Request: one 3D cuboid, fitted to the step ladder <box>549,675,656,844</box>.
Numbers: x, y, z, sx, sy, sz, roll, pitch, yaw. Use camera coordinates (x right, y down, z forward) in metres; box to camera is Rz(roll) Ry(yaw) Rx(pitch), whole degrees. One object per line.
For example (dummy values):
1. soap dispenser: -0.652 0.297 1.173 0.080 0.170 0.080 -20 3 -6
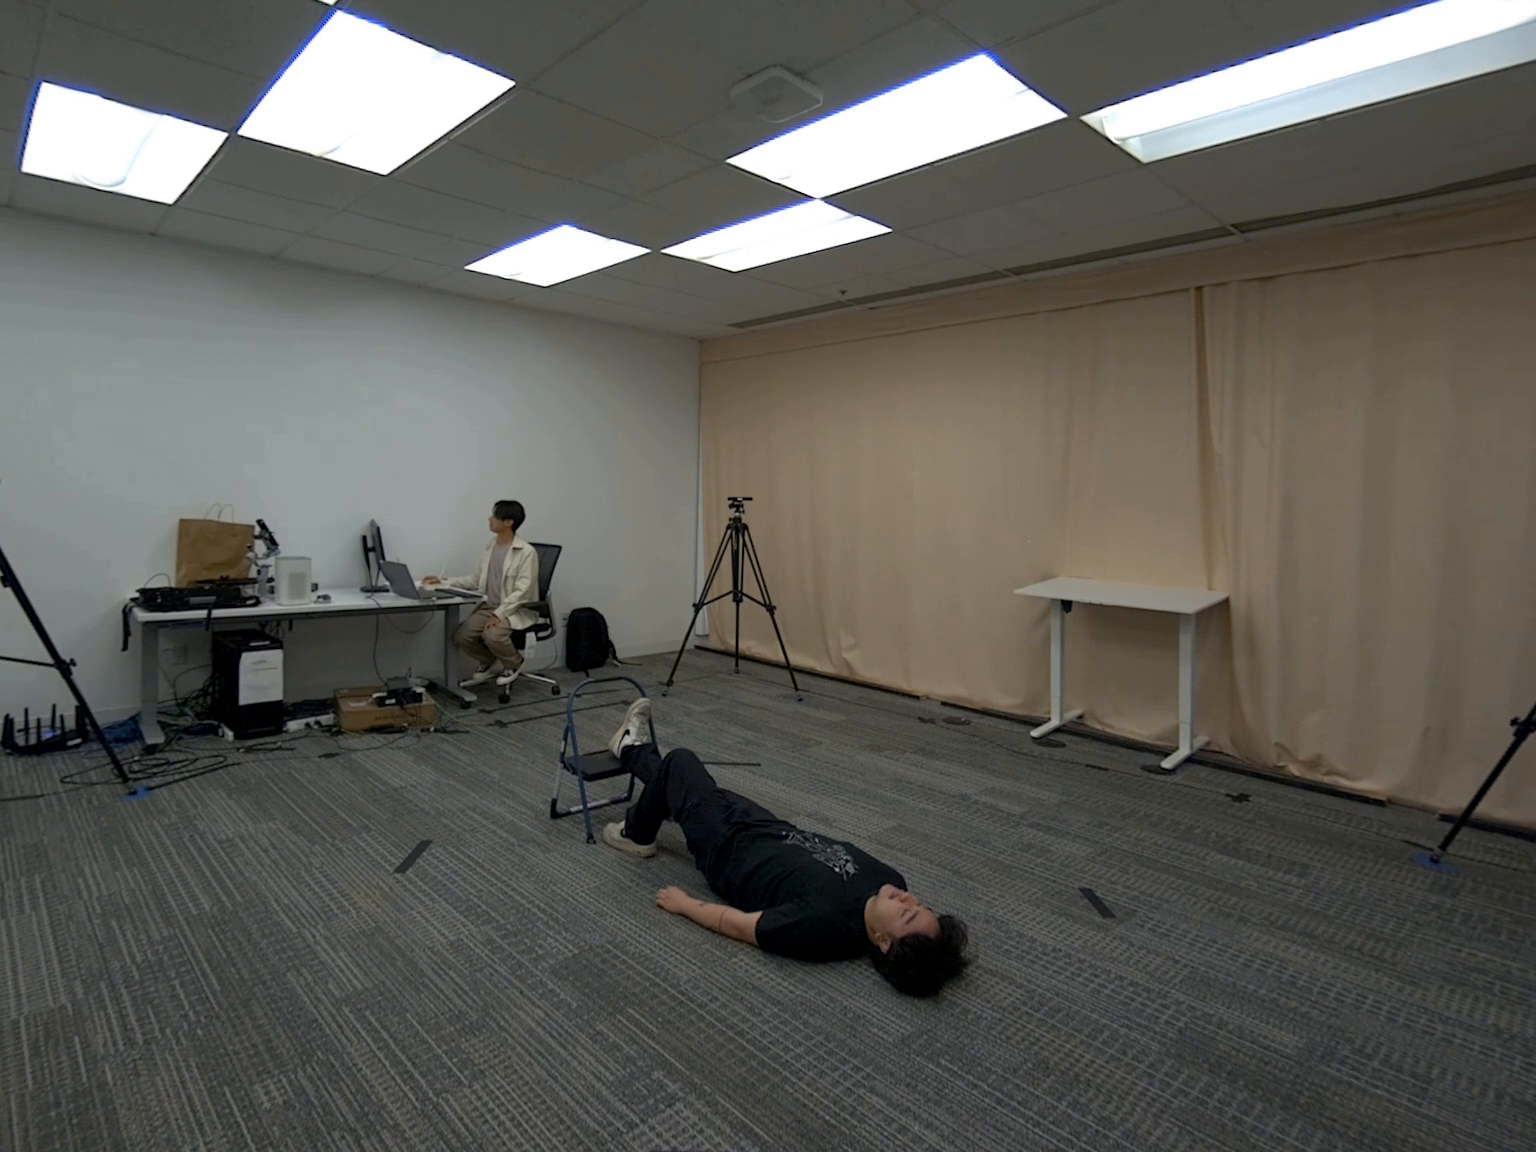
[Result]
1. step ladder: -0.677 0.752 3.619 0.420 0.605 0.358 -1 4 -43
